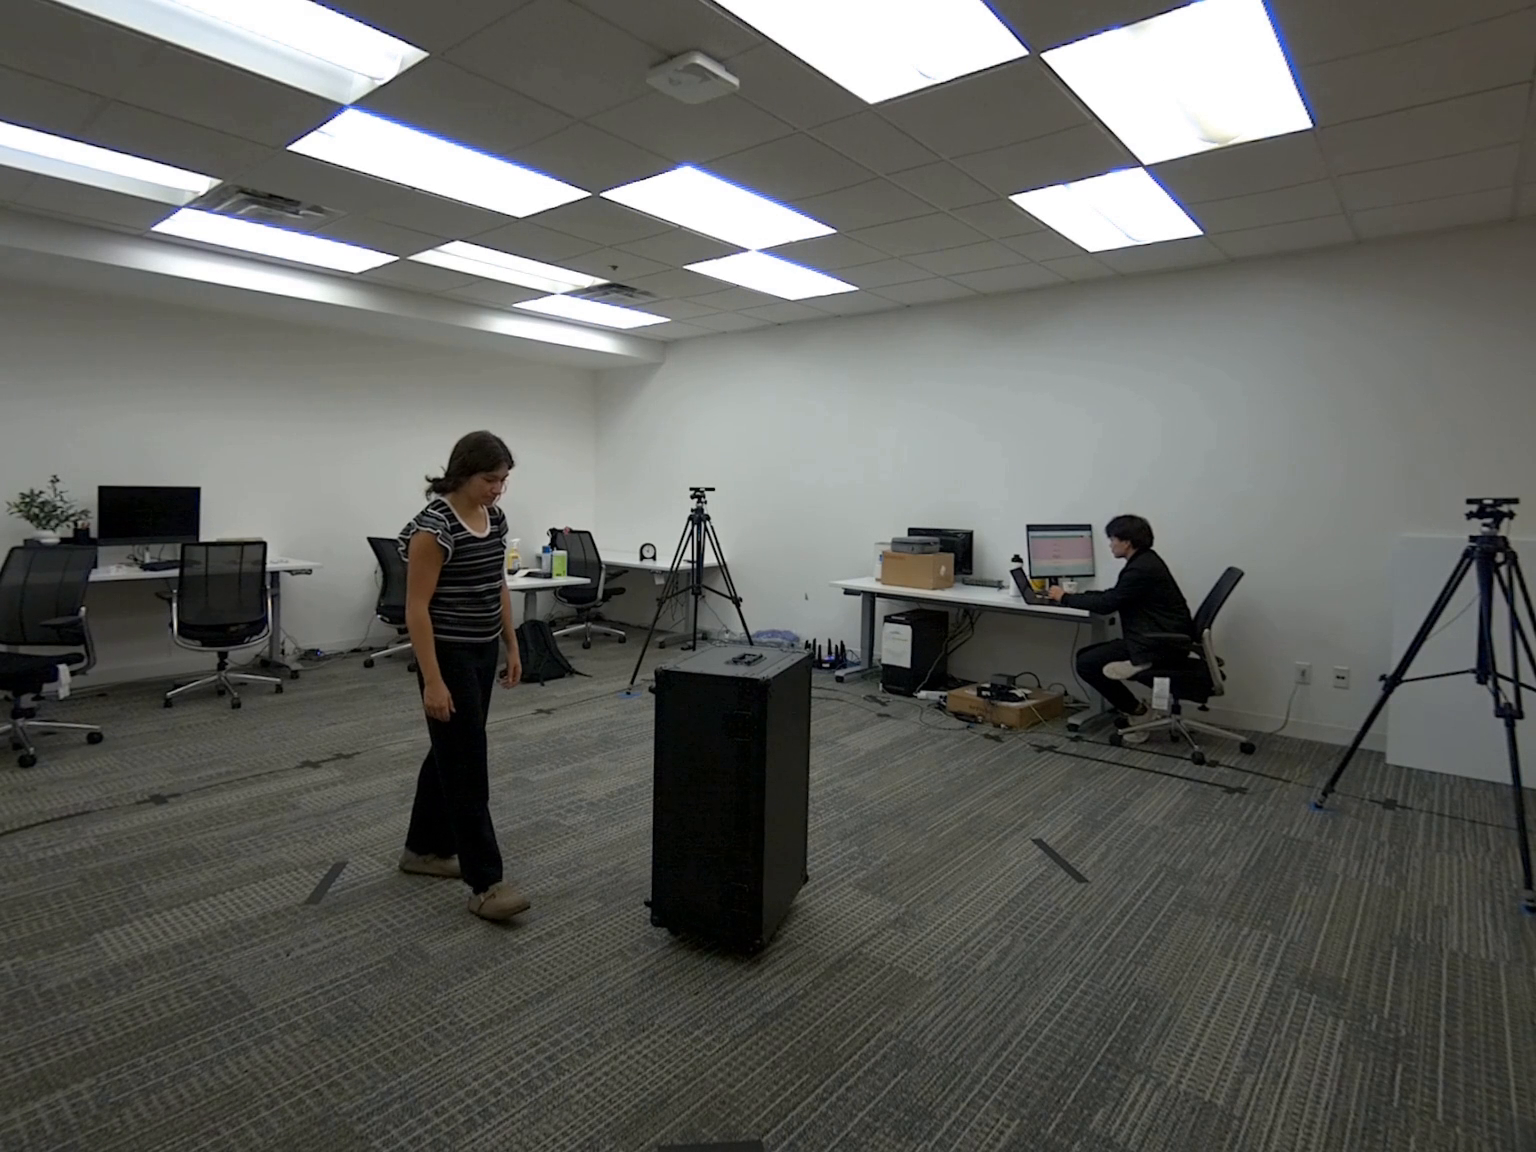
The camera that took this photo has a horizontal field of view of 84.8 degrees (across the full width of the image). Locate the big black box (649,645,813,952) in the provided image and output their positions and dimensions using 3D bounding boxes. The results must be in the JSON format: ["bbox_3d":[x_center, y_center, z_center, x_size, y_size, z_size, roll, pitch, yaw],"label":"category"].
[{"bbox_3d":[-0.123,0.682,2.690,0.405,0.859,0.511,1,3,20],"label":"big black box"}]
